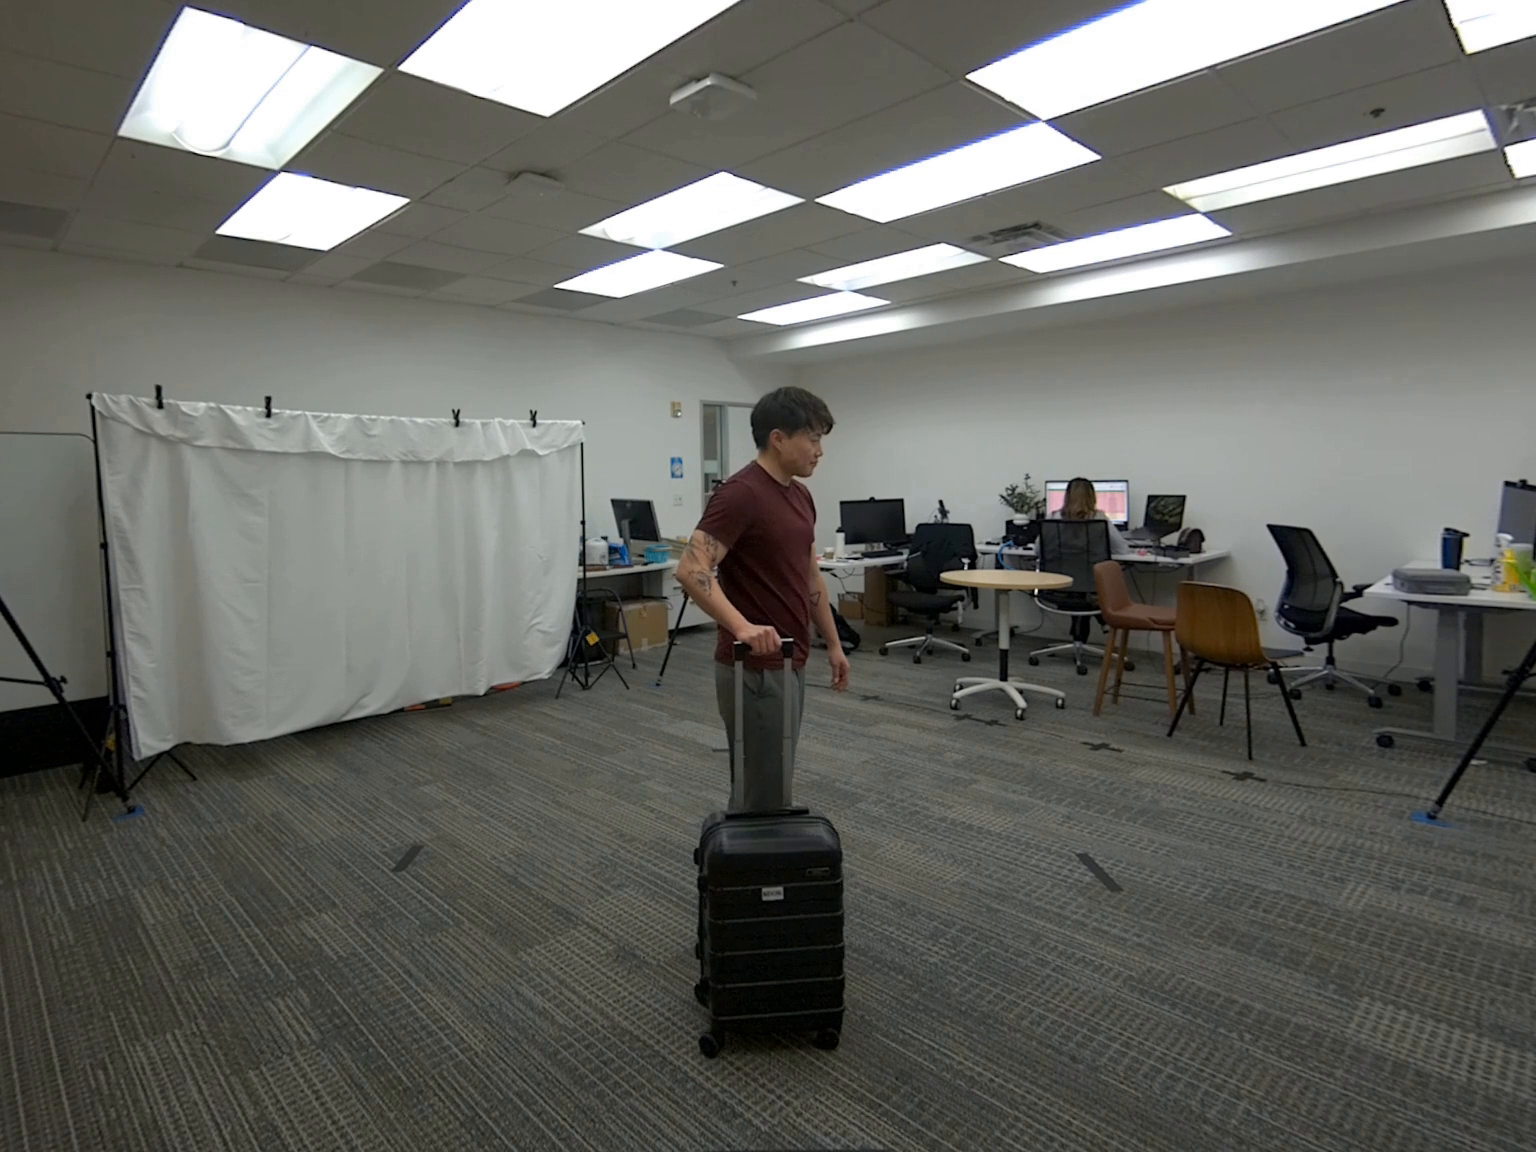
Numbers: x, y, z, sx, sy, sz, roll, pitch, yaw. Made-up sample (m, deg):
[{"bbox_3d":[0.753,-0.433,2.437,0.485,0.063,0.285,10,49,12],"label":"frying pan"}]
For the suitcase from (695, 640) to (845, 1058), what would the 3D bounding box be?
[{"bbox_3d":[0.016,0.684,2.156,0.382,0.972,0.260,0,7,-5],"label":"suitcase"}]
